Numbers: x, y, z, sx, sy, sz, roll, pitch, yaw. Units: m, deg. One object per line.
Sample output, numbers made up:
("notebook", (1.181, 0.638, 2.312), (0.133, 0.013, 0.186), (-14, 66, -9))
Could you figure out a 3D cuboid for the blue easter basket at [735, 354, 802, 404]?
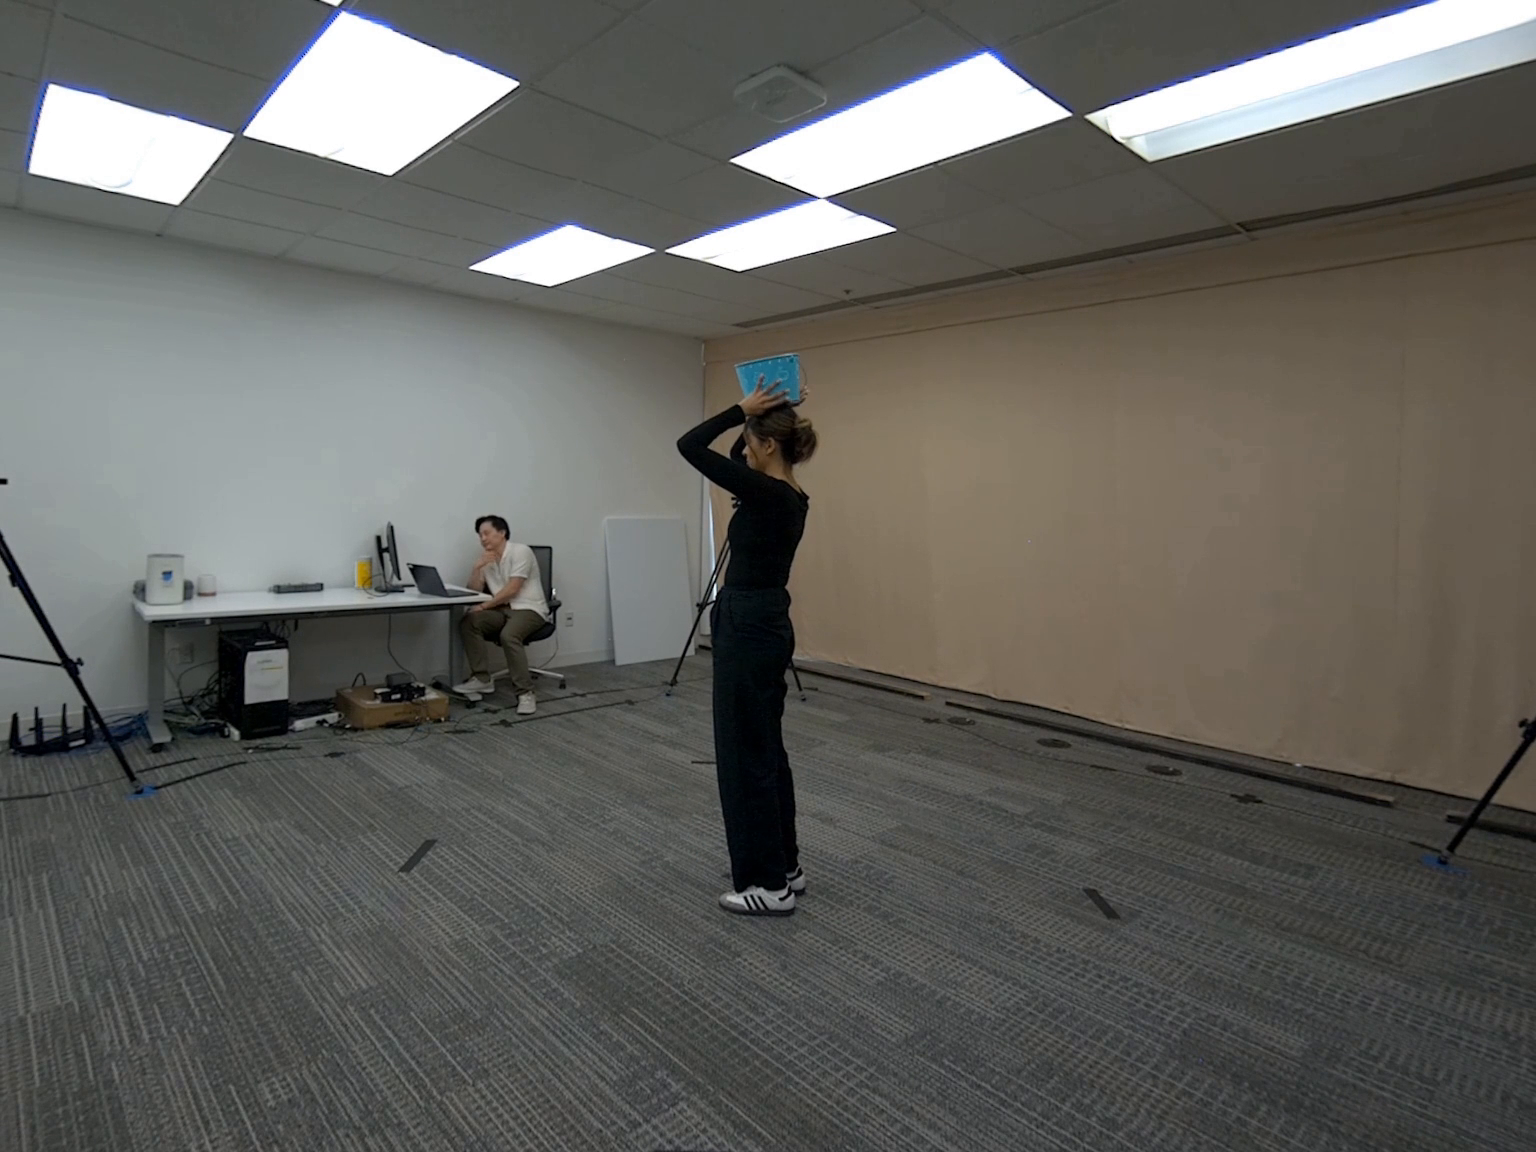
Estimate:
("blue easter basket", (0.012, -0.672, 2.910), (0.244, 0.154, 0.245), (-10, 10, 0))
